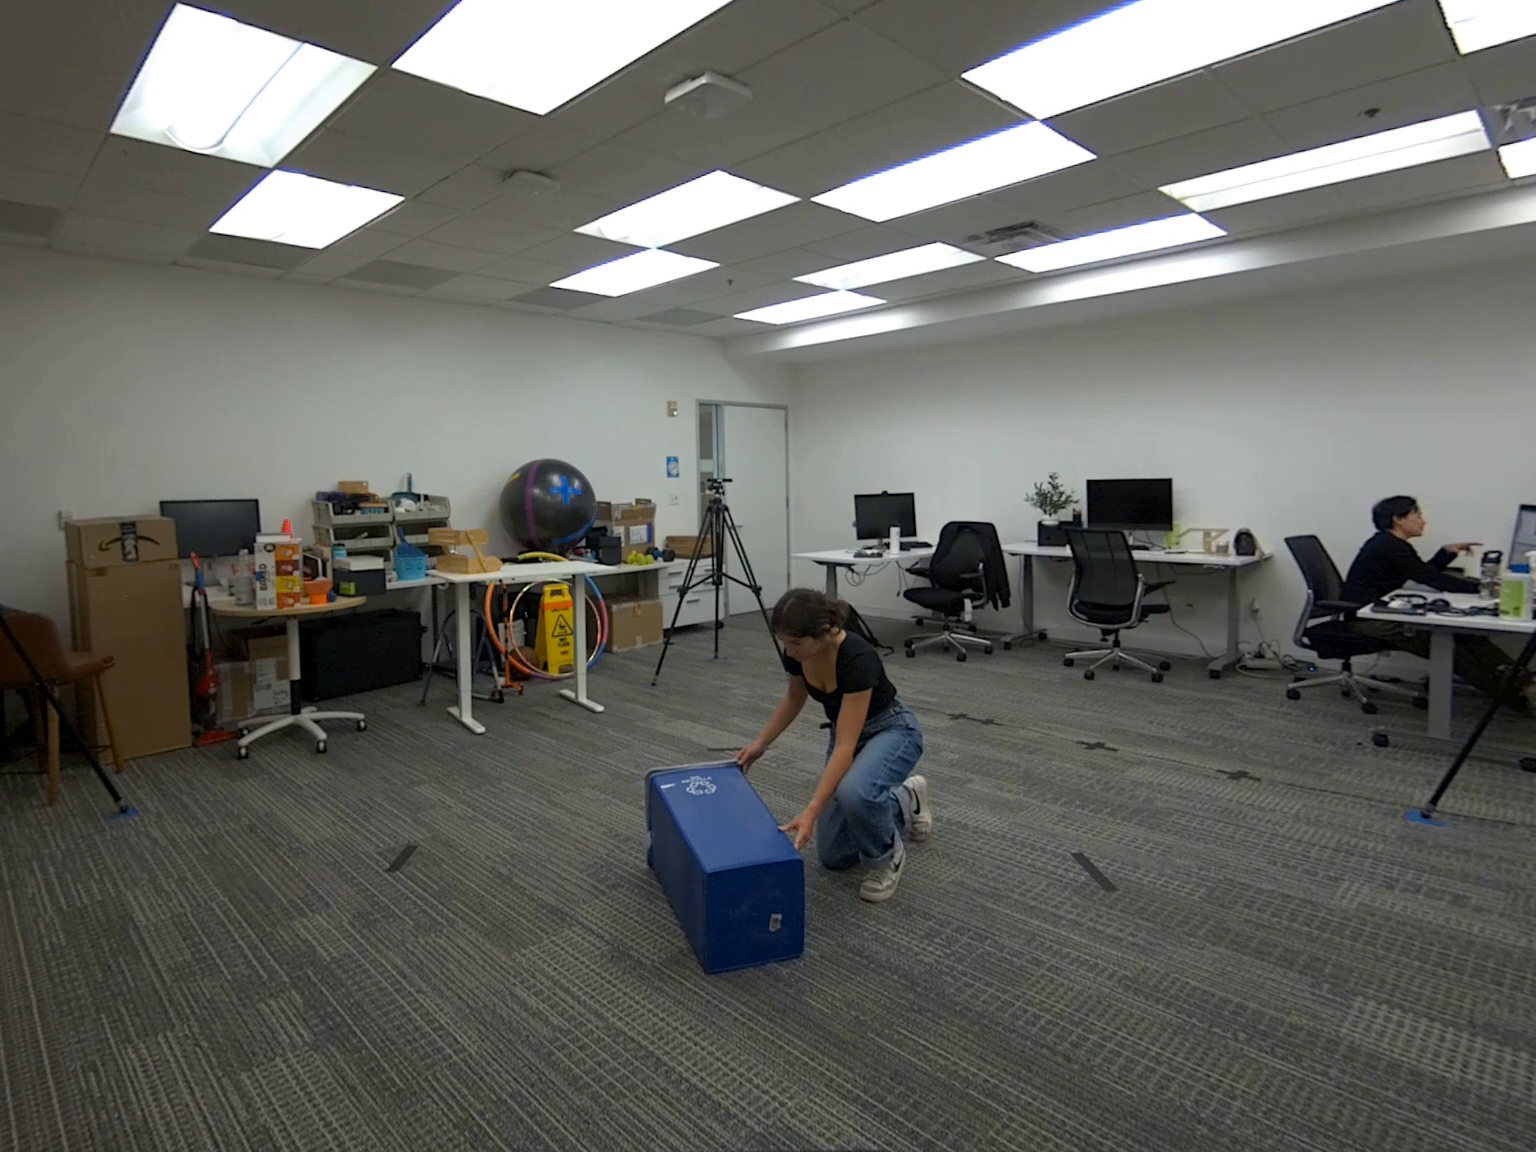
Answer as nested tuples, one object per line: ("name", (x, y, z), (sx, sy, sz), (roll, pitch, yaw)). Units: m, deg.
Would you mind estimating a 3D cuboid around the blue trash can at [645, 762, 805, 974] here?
("blue trash can", (-0.147, 0.916, 2.779), (0.368, 0.375, 0.730), (-2, 9, -19))
